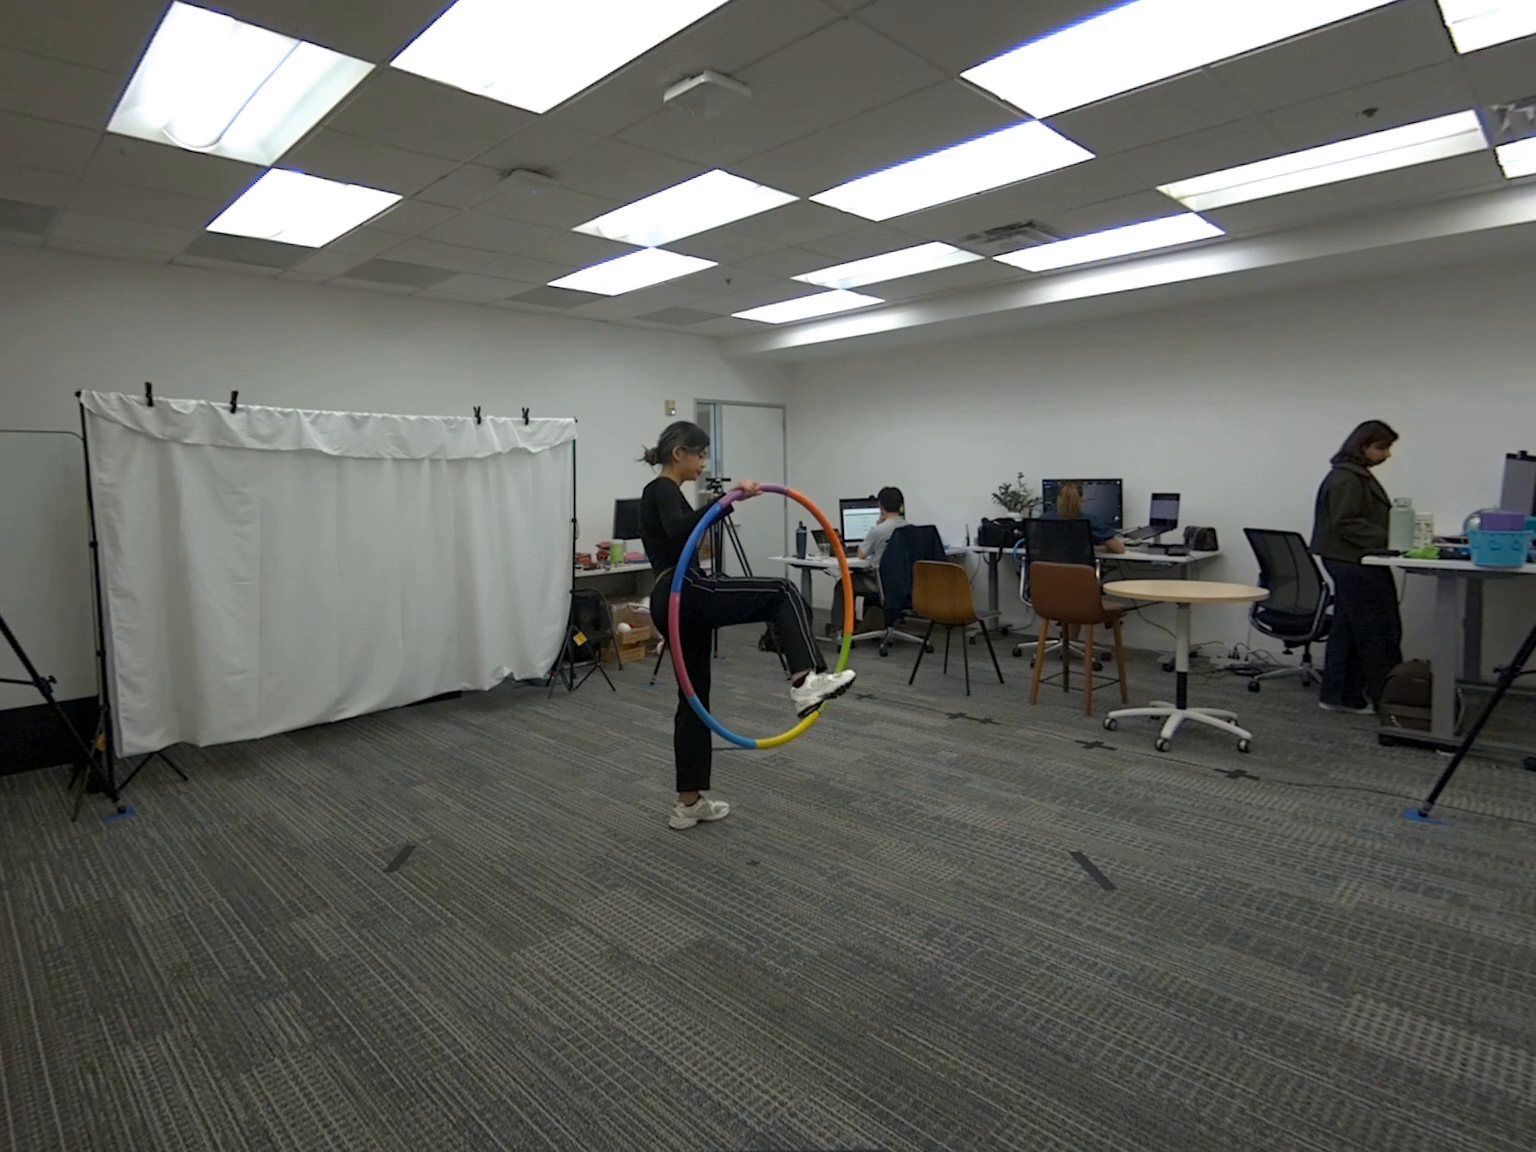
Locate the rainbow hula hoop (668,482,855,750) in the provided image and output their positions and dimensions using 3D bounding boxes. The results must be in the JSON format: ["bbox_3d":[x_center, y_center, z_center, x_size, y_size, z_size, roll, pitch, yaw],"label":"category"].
[{"bbox_3d":[0.008,0.139,3.240,0.953,0.978,0.036,-6,1,-44],"label":"rainbow hula hoop"}]
